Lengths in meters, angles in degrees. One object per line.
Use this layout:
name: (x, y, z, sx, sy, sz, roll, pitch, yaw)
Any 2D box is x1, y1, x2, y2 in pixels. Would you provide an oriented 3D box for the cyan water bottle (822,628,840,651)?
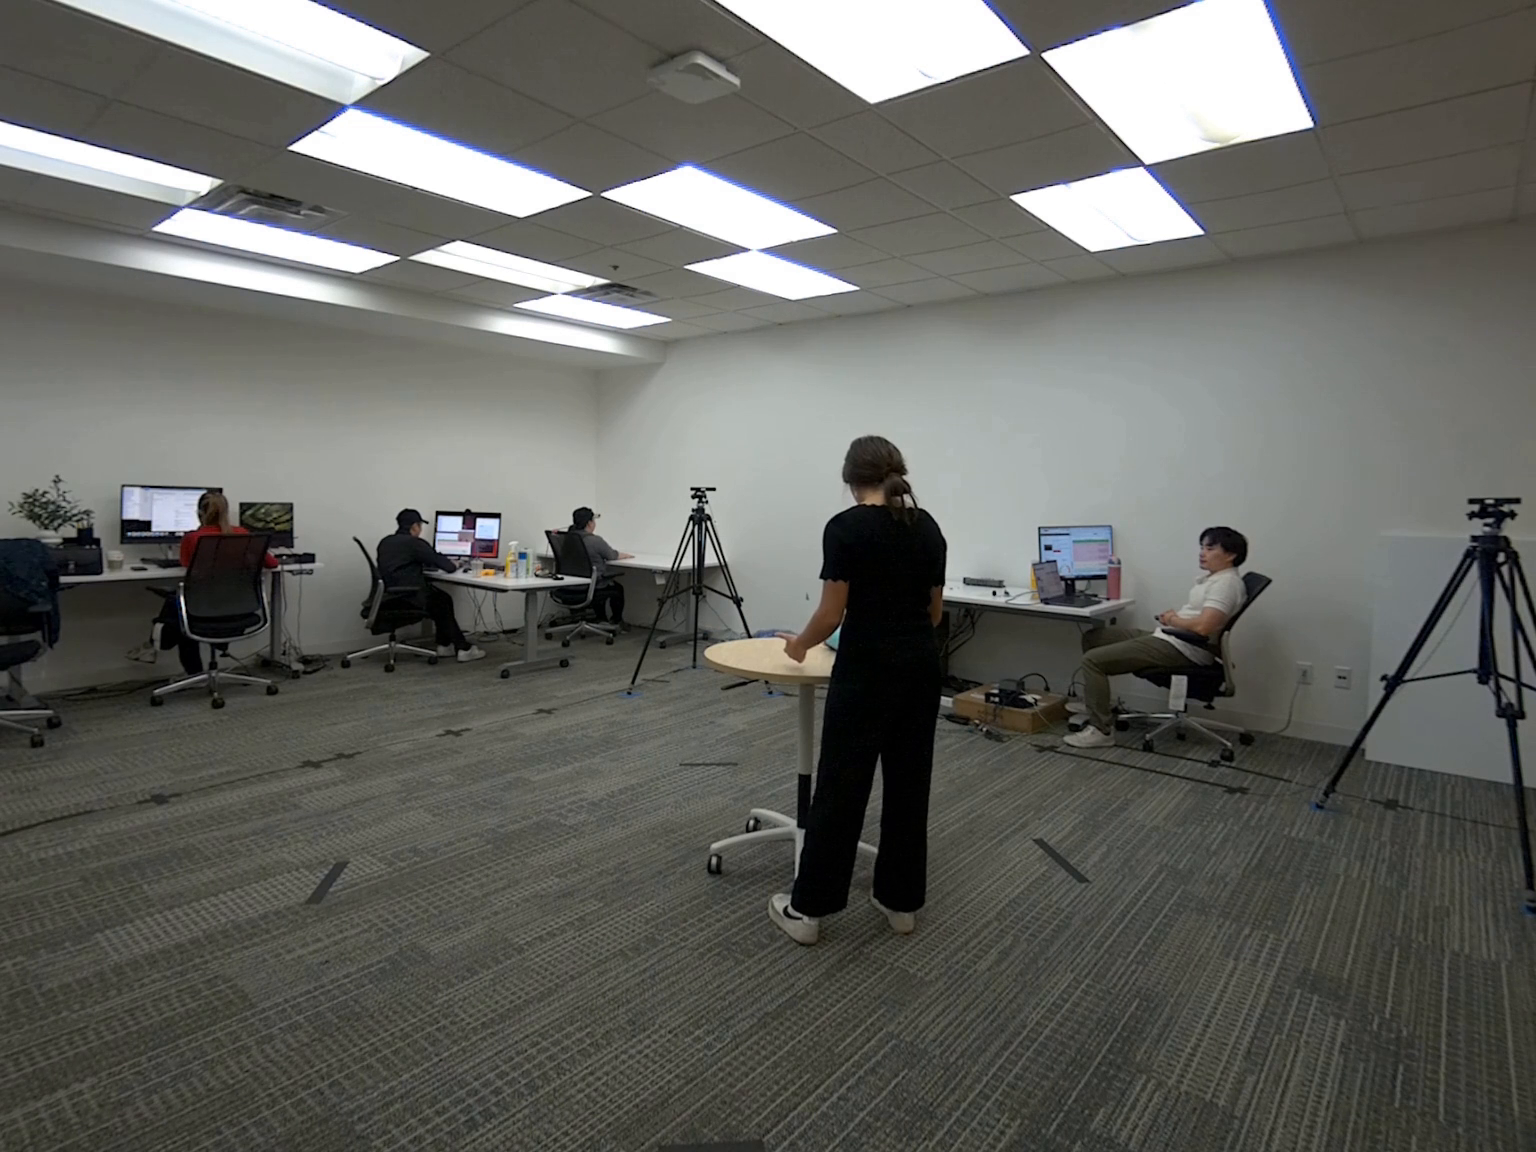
cyan water bottle: (0.275, 0.238, 3.175, 0.090, 0.092, 0.290, -1, 6, -21)
